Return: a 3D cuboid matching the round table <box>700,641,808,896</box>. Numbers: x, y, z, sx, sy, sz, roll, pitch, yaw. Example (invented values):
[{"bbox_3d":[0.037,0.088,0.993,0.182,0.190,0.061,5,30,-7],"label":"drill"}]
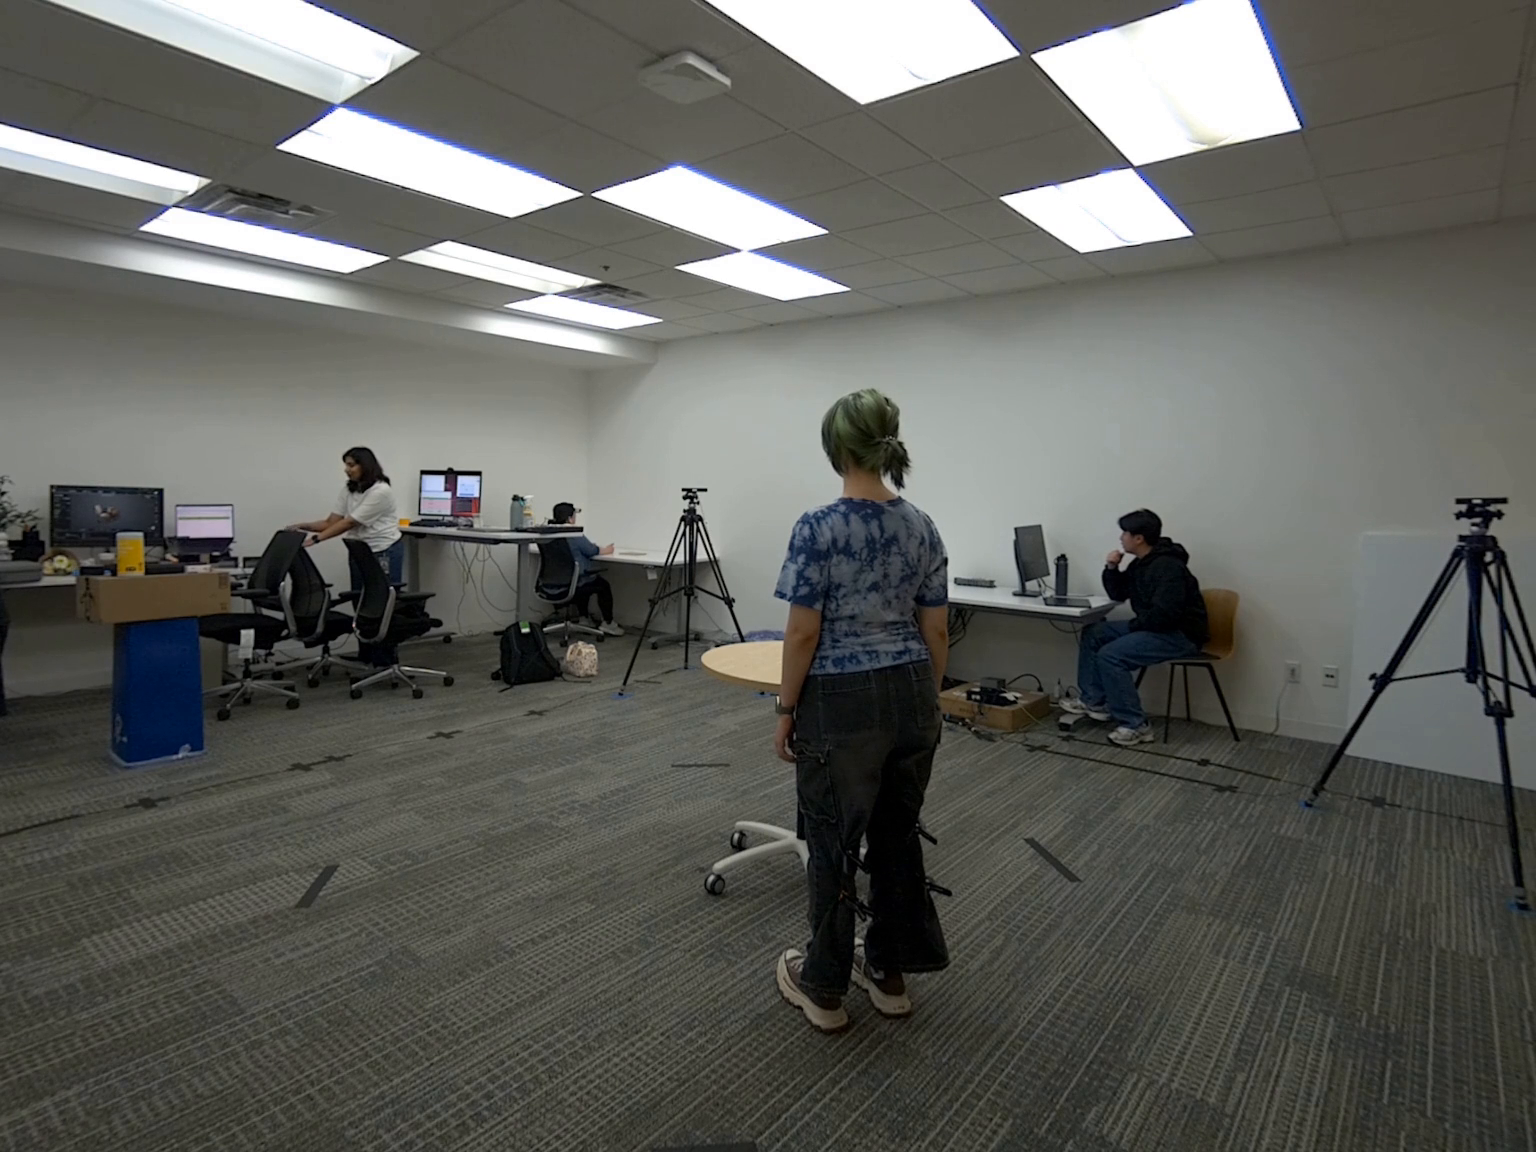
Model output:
[{"bbox_3d":[0.115,0.693,3.051,0.763,0.791,0.768,1,4,-2],"label":"round table"}]
